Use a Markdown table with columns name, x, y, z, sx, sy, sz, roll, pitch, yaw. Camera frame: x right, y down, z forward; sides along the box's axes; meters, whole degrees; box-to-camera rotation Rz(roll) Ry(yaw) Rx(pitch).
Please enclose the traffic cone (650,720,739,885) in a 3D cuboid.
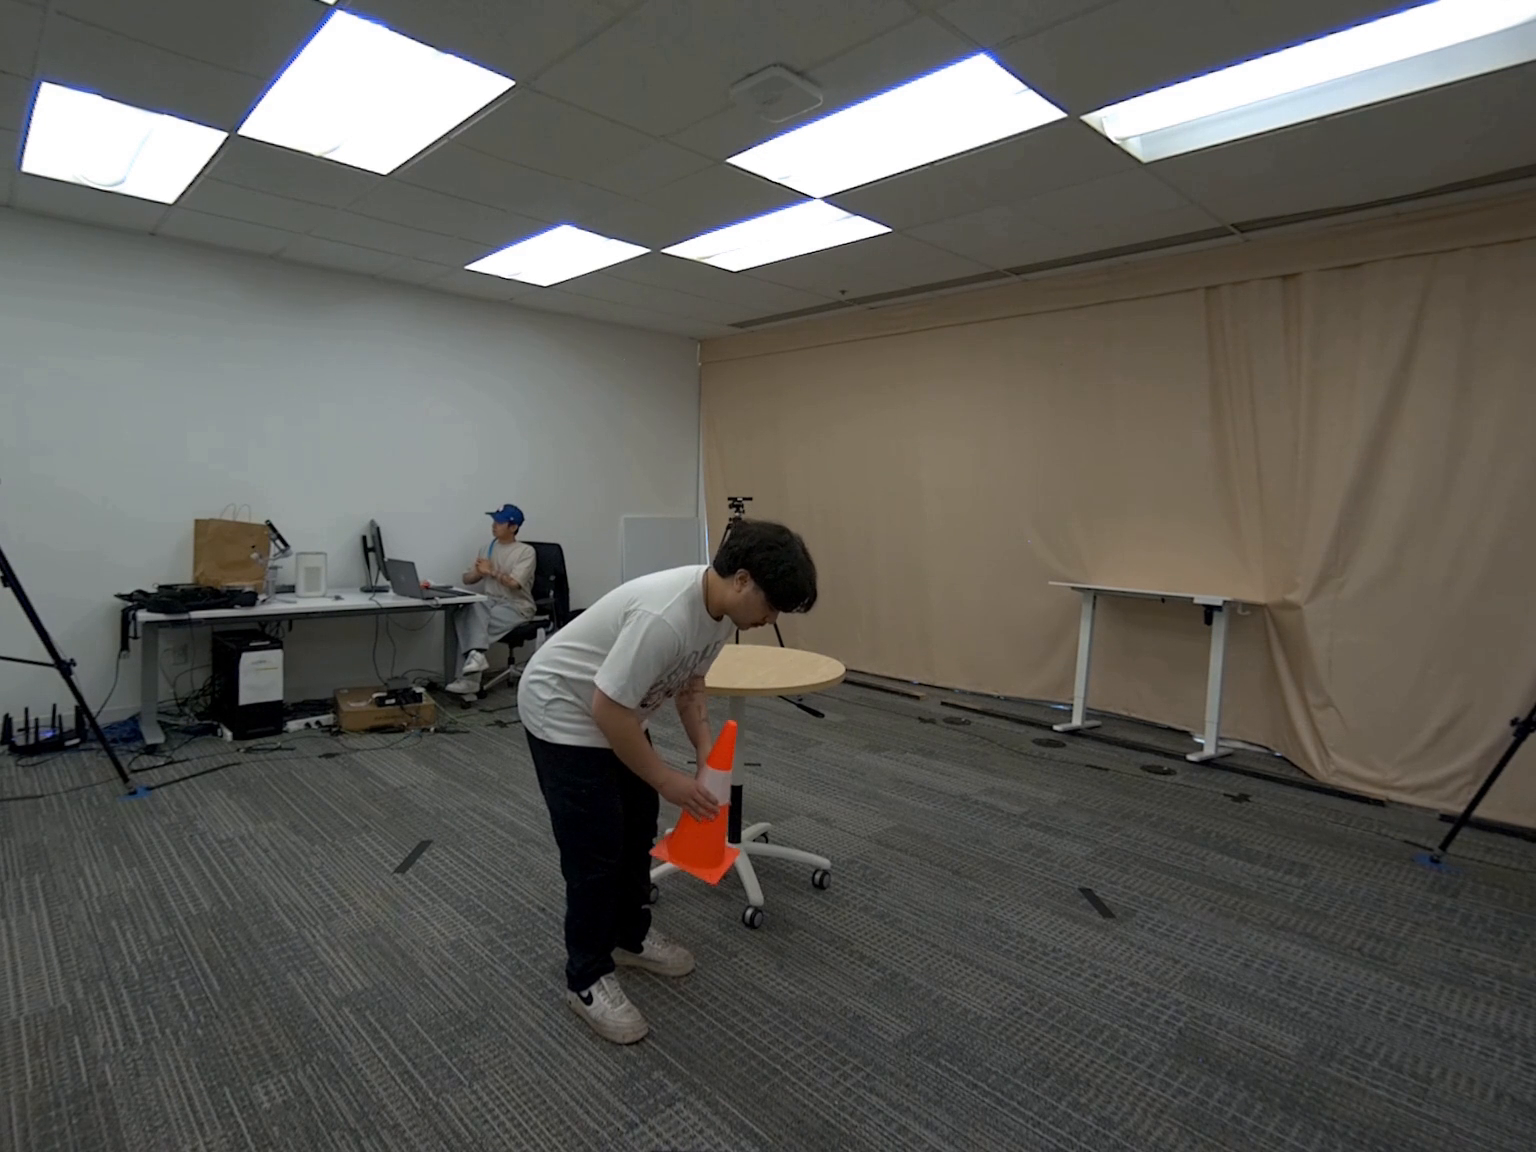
| name | x | y | z | sx | sy | sz | roll | pitch | yaw |
| --- | --- | --- | --- | --- | --- | --- | --- | --- | --- |
| traffic cone | -0.159 | 0.585 | 2.219 | 0.209 | 0.382 | 0.201 | 18 | 10 | 18 |
